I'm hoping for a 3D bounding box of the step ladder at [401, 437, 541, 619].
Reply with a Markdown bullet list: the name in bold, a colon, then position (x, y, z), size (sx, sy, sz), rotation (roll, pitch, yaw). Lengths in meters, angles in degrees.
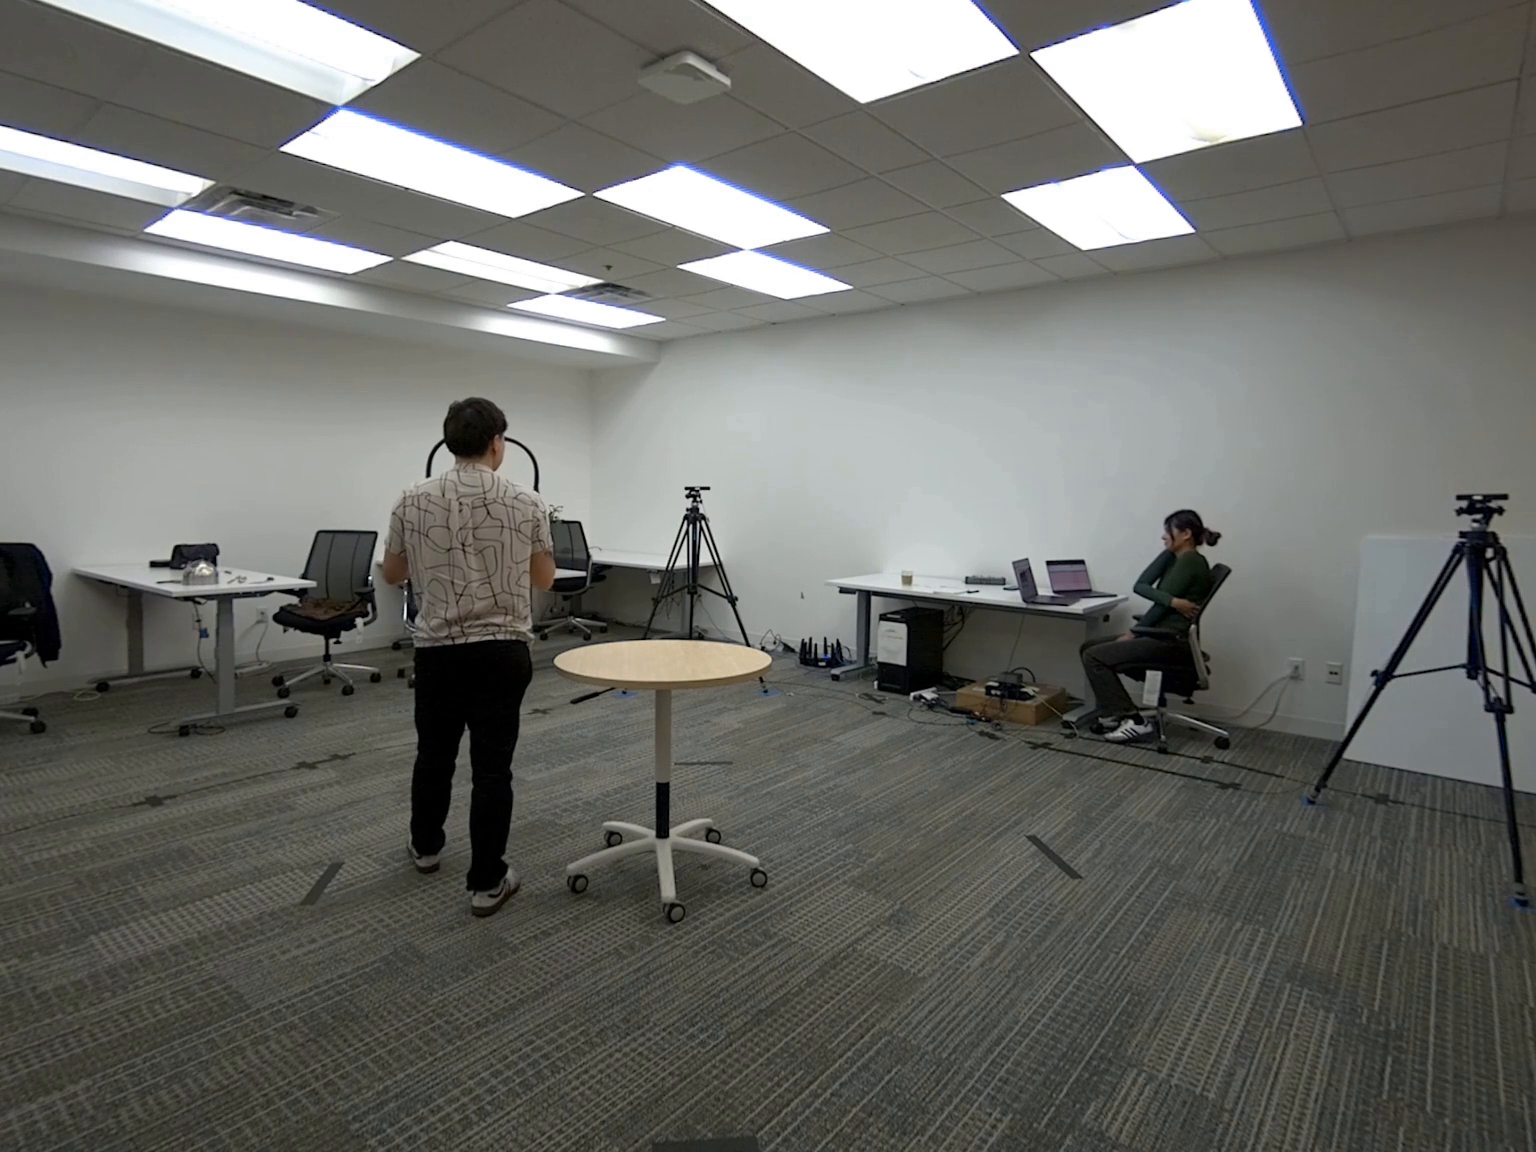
- **step ladder**: position (-1.095, -0.225, 3.183), size (0.426, 0.594, 0.360), rotation (3, 31, -10)
